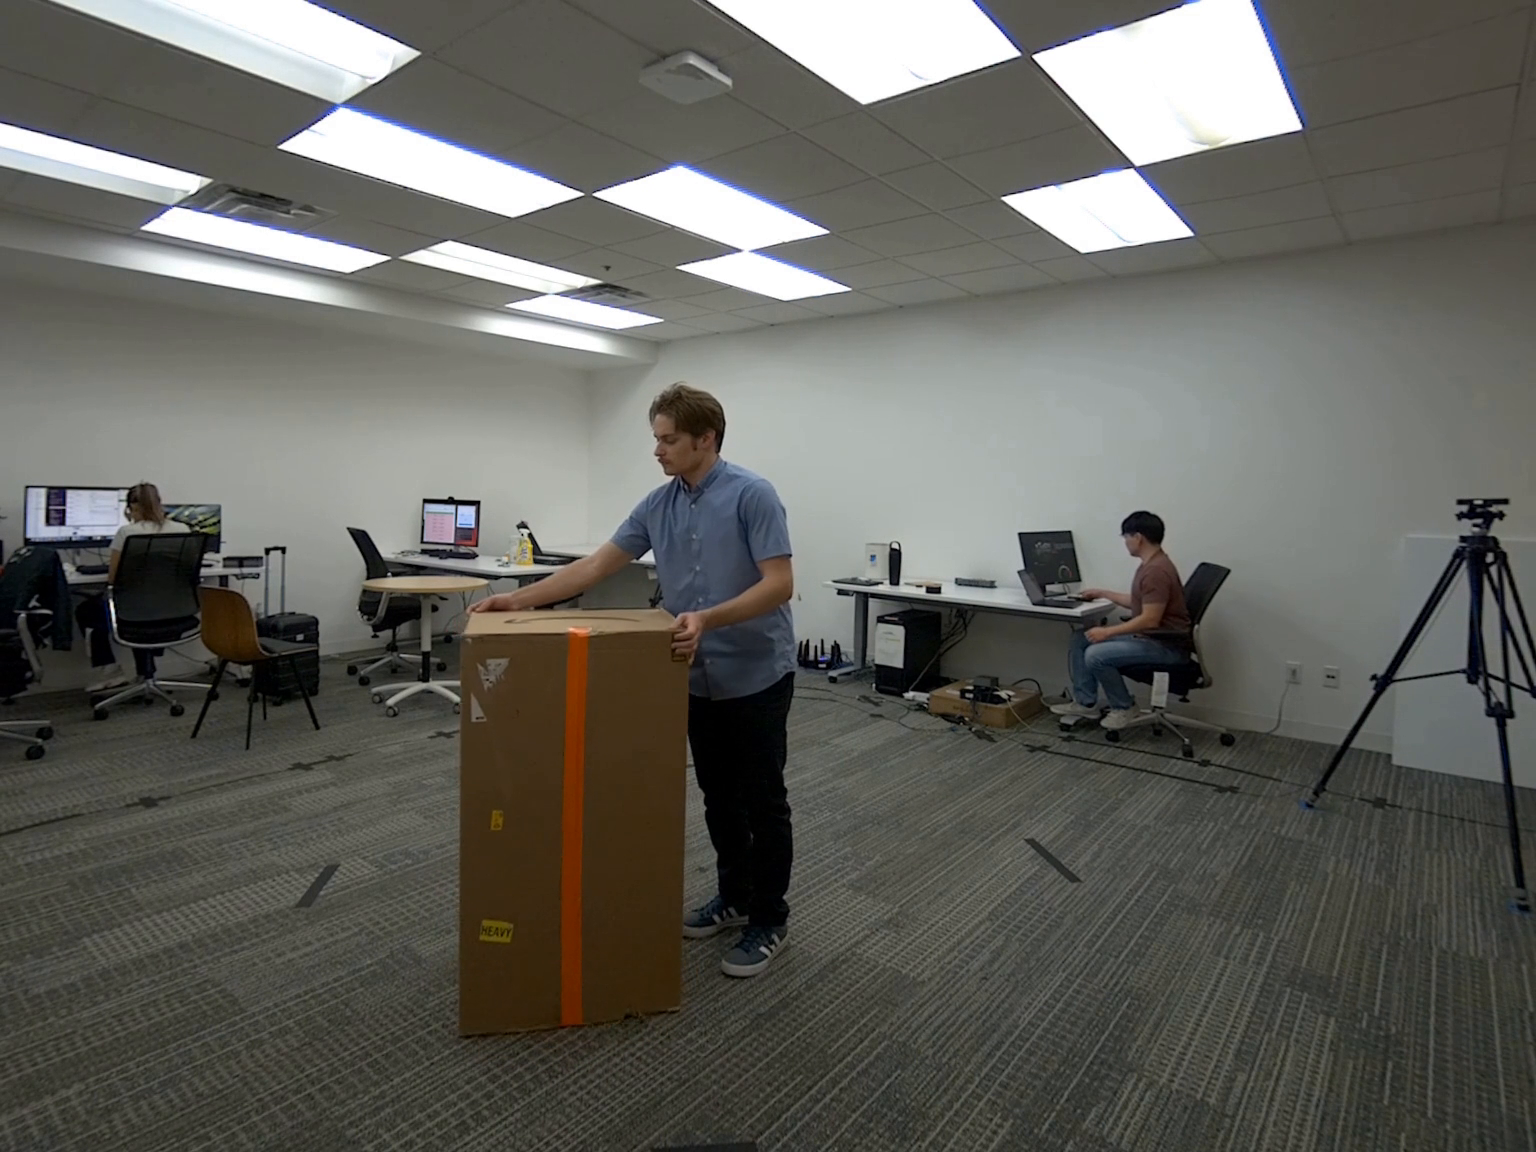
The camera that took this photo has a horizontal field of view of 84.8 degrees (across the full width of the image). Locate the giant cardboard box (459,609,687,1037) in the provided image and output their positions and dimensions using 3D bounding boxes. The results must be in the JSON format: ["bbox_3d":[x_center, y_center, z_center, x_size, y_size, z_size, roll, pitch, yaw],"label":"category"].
[{"bbox_3d":[-0.564,0.629,2.365,0.569,1.023,0.433,1,3,-14],"label":"giant cardboard box"}]
